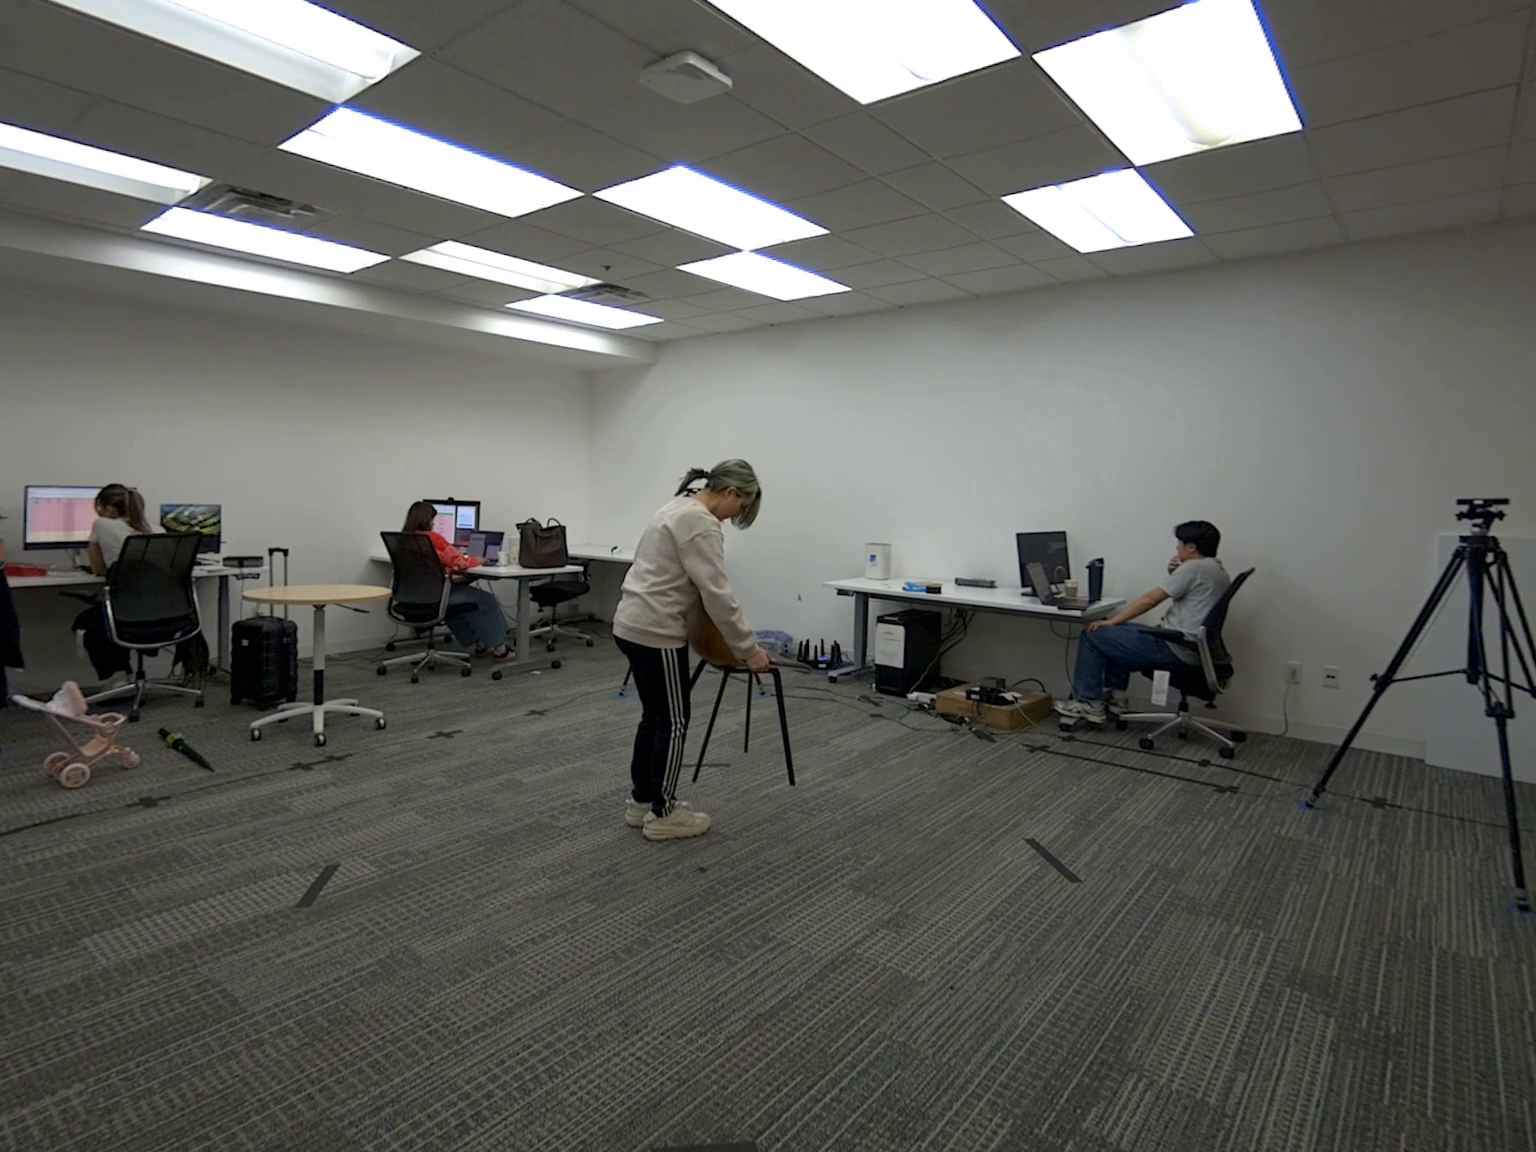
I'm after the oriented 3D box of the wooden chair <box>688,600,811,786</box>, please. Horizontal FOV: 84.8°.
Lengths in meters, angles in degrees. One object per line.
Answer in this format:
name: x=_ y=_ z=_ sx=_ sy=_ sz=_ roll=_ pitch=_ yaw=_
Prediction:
wooden chair: x=-0.121 y=0.384 z=3.559 sx=0.510 sy=0.875 sz=0.492 roll=3 pitch=3 yaw=-26
